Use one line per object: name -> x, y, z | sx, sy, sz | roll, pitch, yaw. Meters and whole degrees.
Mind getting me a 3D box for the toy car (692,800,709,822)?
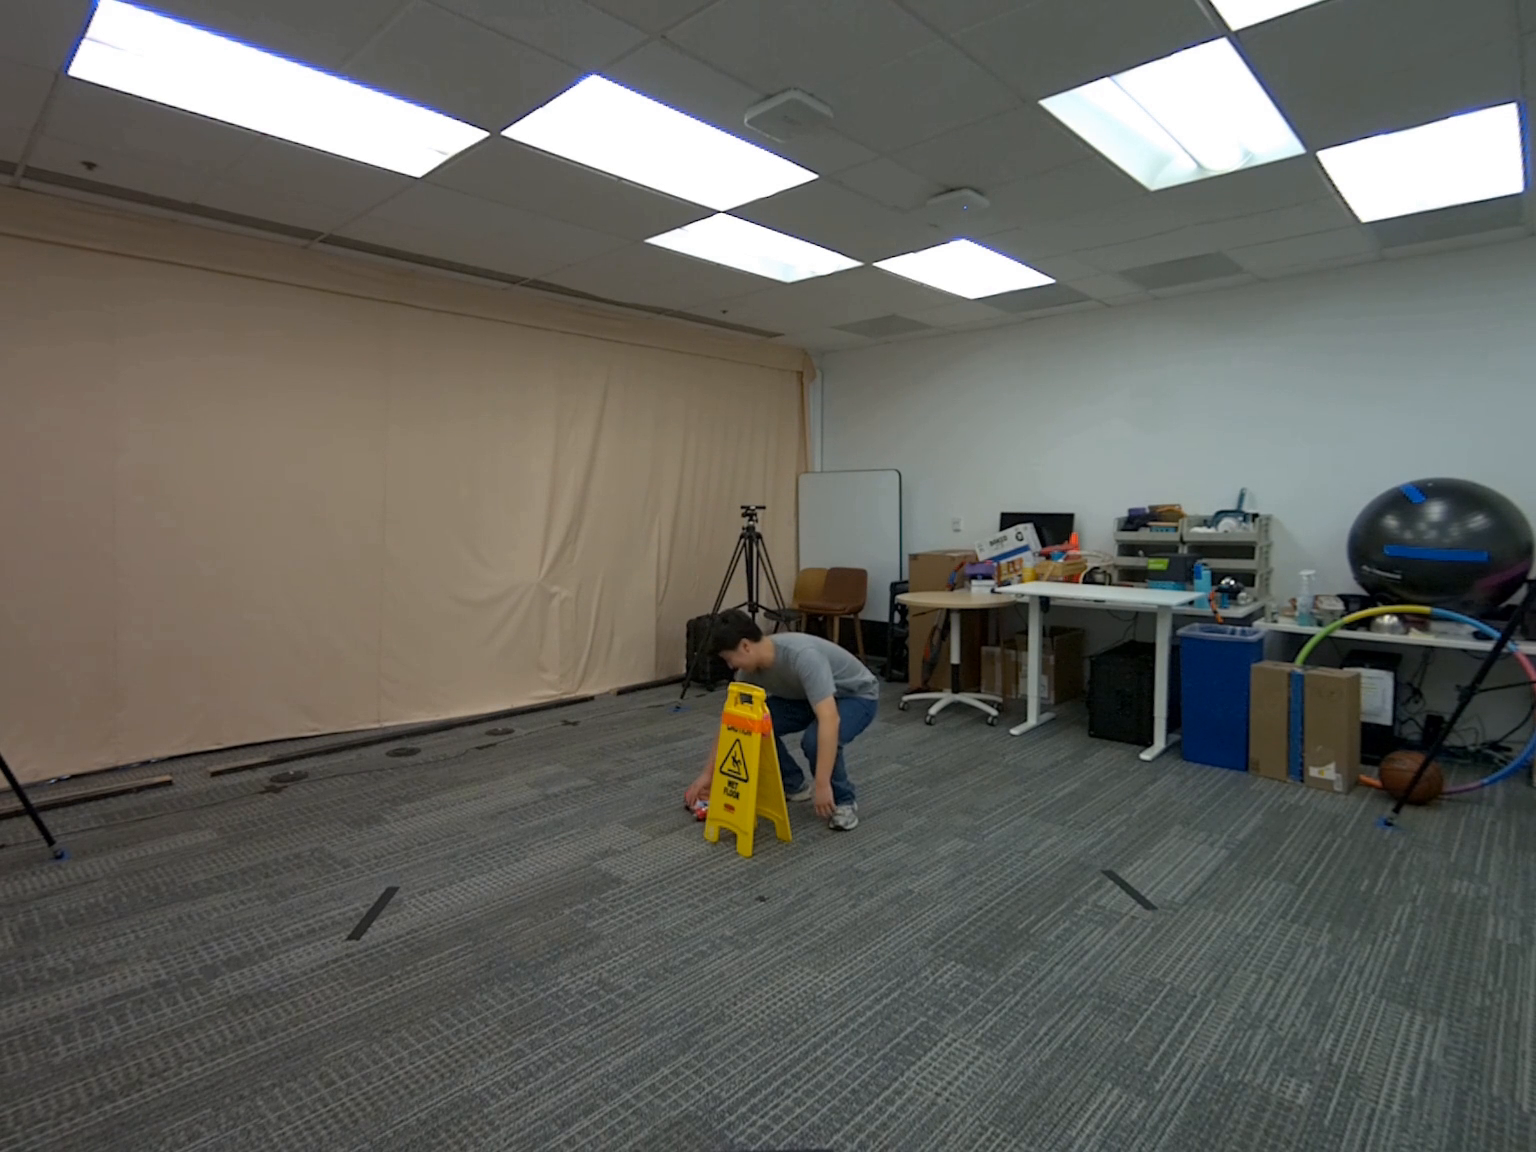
toy car -> -0.295, 1.037, 3.831 | 0.127, 0.082, 0.262 | -3, 19, -22
